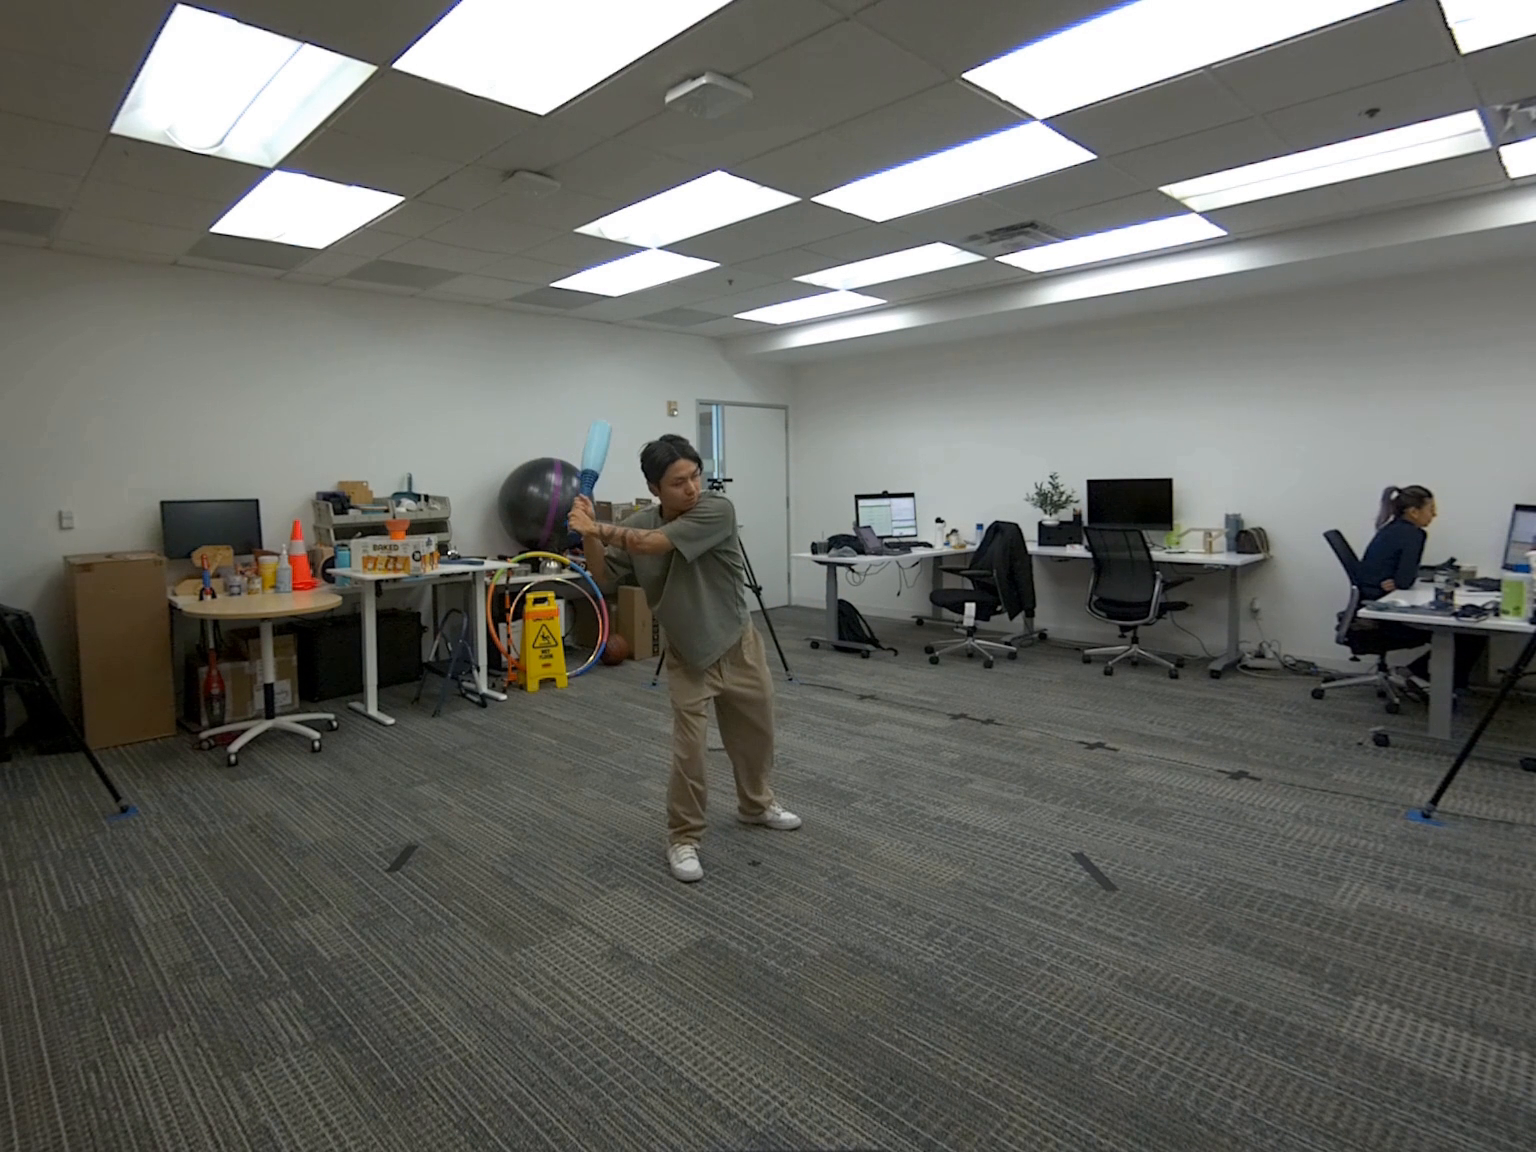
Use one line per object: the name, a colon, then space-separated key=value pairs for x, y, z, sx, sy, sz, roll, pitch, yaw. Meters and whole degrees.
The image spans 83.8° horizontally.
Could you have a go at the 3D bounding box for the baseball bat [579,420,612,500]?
baseball bat: x=-0.658 y=-0.342 z=3.122 sx=0.089 sy=0.555 sz=0.087 roll=4 pitch=-34 yaw=1
